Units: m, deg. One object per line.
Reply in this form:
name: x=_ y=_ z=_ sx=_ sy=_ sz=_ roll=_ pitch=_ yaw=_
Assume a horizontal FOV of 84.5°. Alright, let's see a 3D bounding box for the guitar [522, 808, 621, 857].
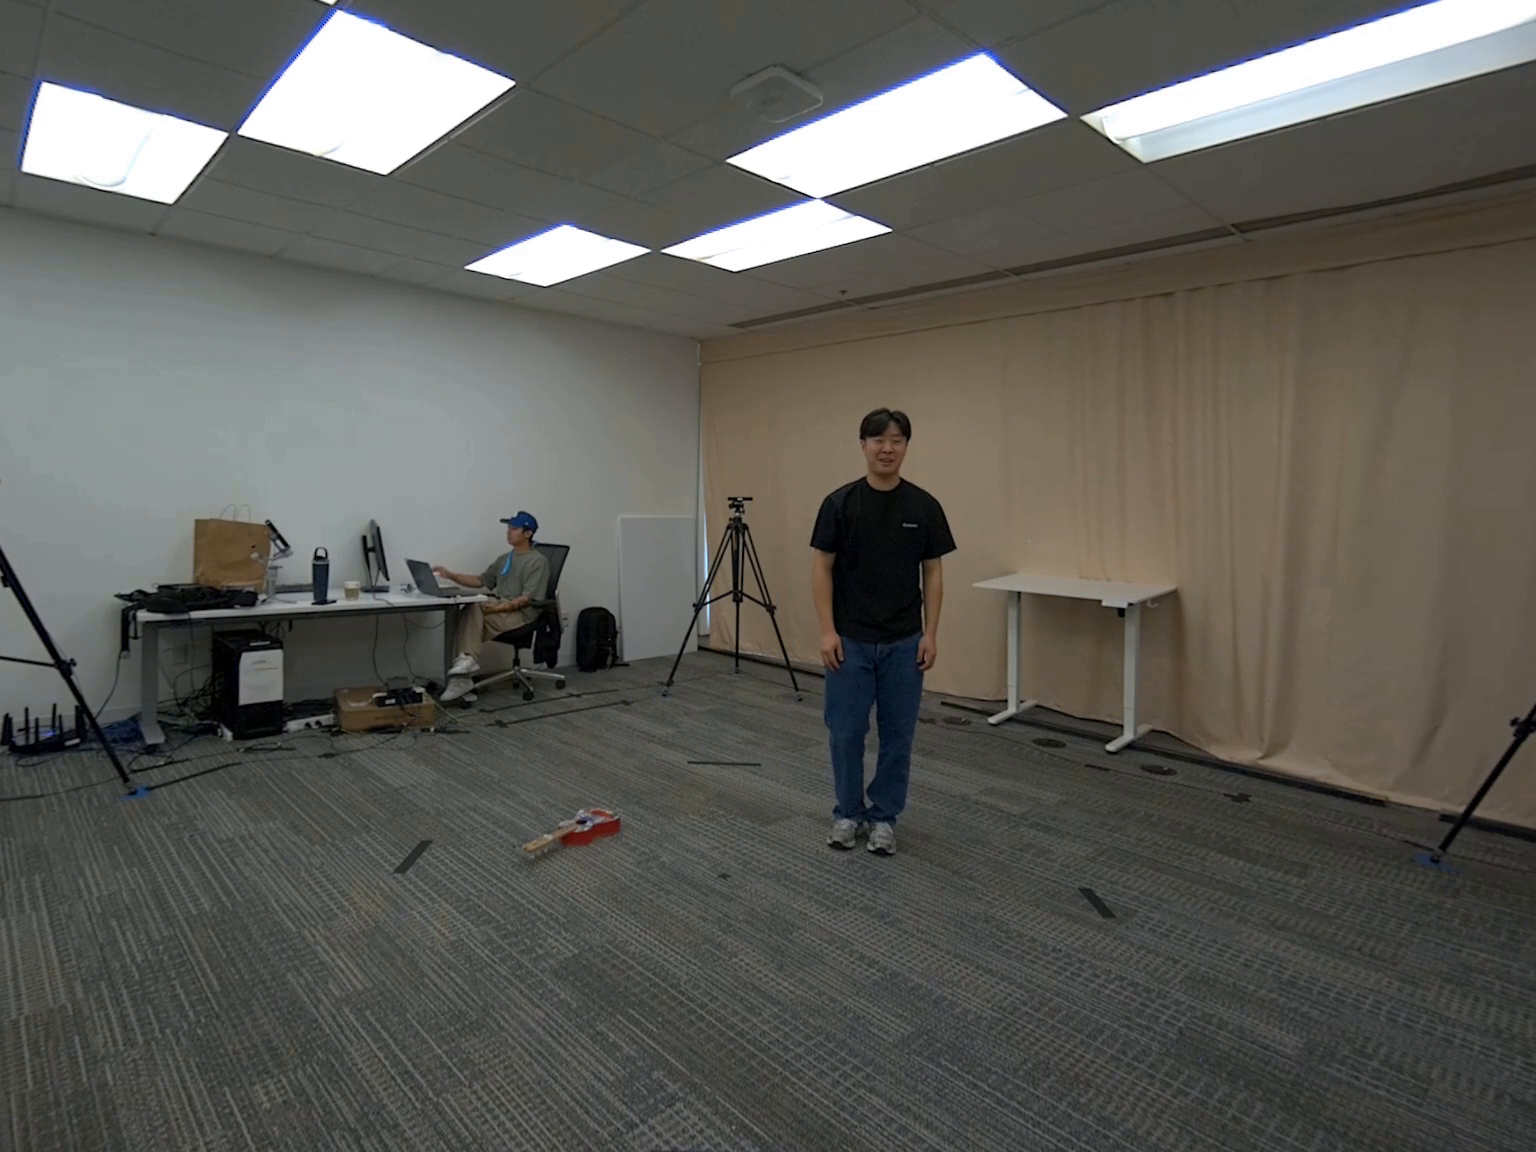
guitar: x=-0.827 y=1.034 z=3.385 sx=0.198 sy=0.070 sz=0.487 roll=5 pitch=6 yaw=37
